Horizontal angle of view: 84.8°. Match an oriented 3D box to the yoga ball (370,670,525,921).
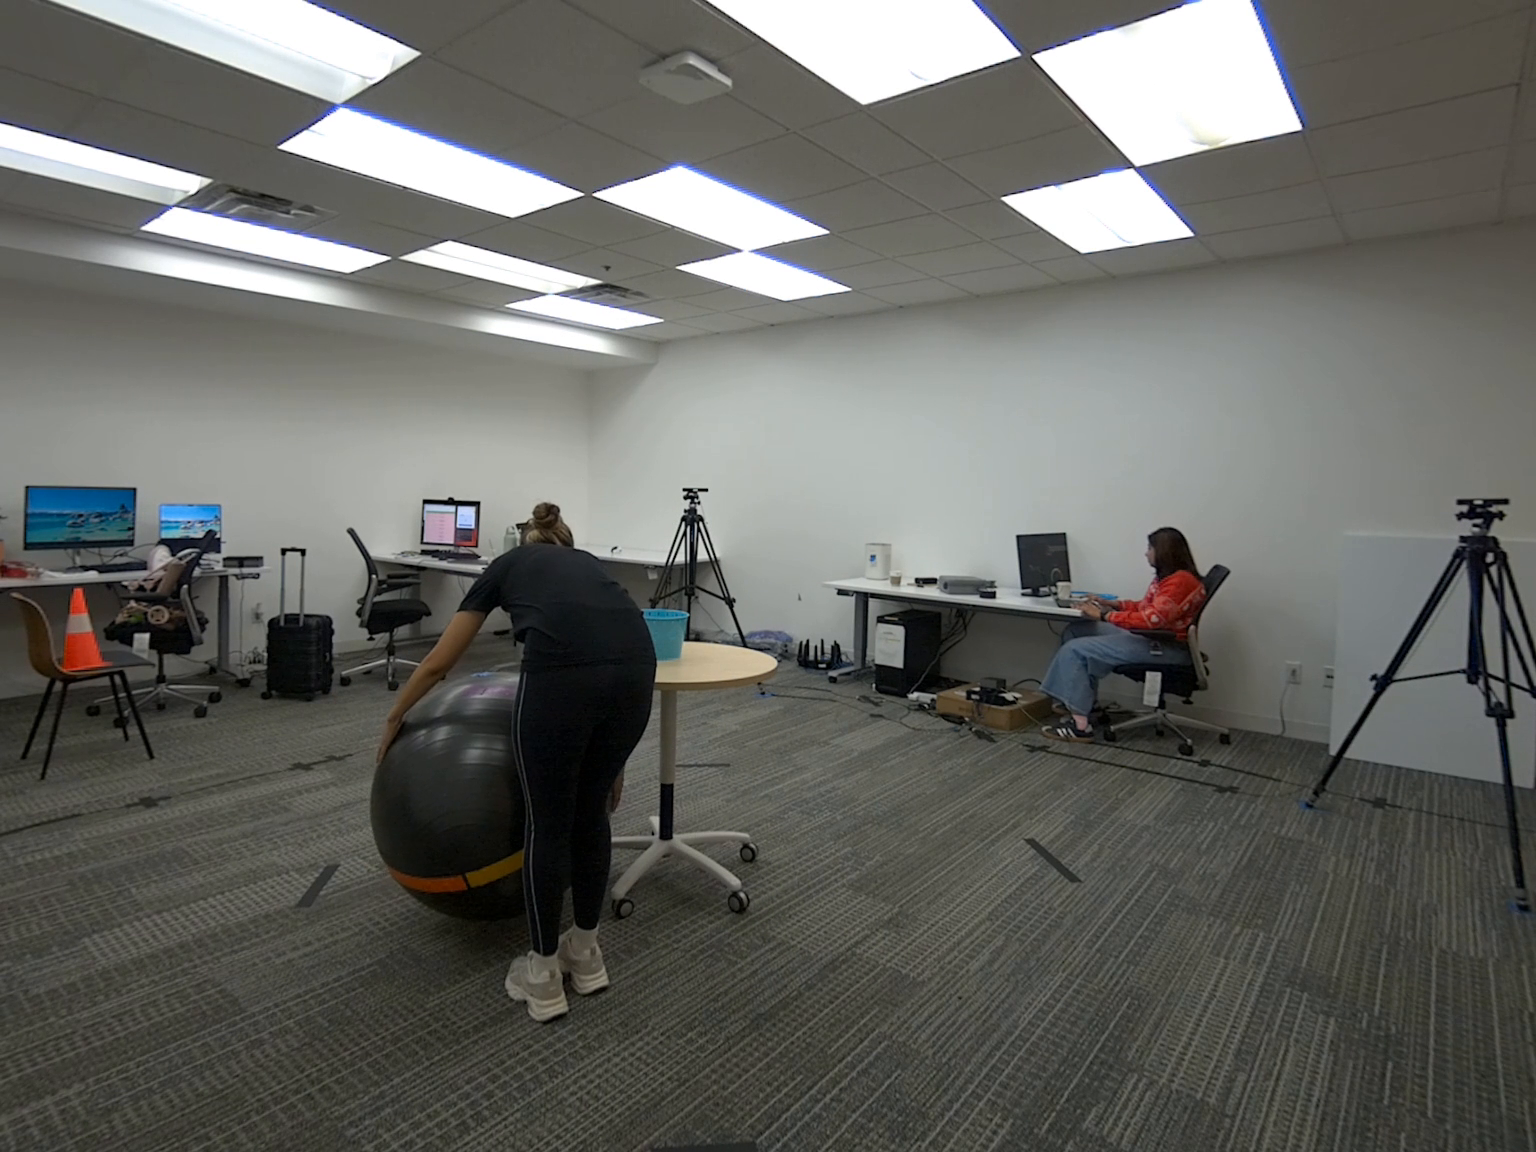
[{"bbox_3d":[-0.894,0.694,2.720,0.757,0.756,0.761,1,4,-2],"label":"yoga ball"}]
